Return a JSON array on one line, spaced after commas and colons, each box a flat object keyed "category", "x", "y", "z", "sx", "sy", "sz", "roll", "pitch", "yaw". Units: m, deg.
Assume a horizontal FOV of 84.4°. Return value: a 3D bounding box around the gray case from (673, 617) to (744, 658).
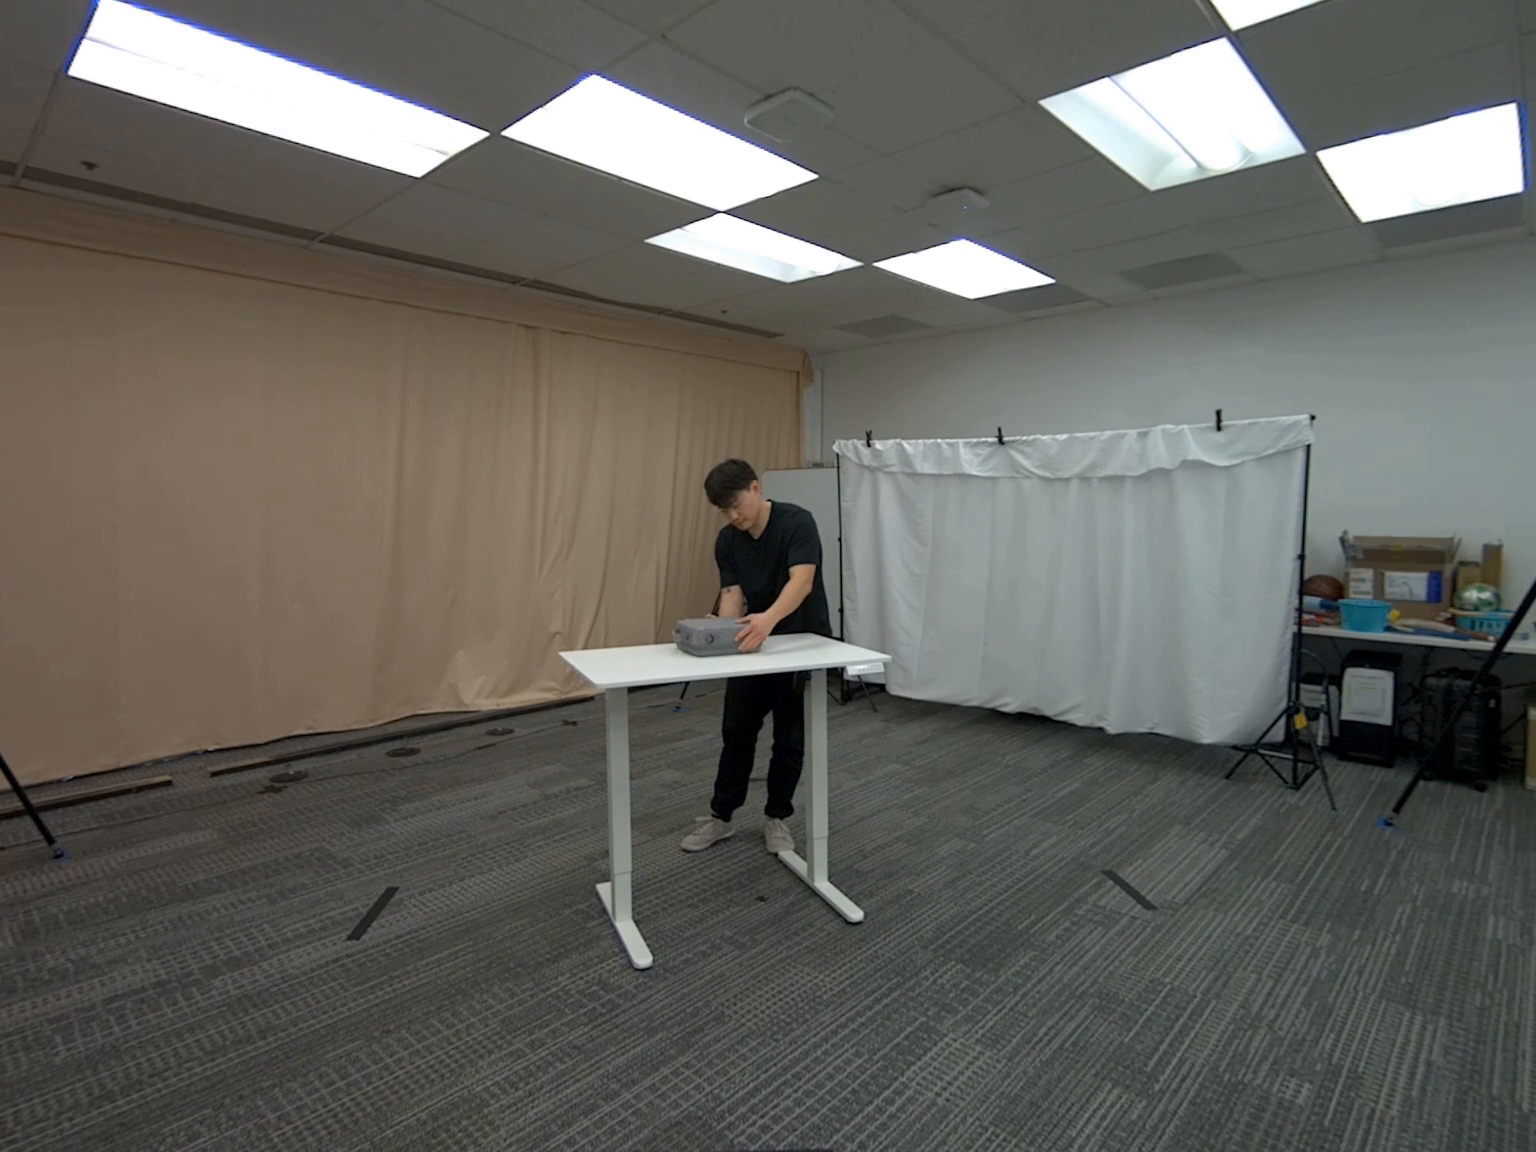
[{"category": "gray case", "x": -0.186, "y": 0.211, "z": 2.981, "sx": 0.255, "sy": 0.104, "sz": 0.263, "roll": -2, "pitch": 6, "yaw": -20}]
